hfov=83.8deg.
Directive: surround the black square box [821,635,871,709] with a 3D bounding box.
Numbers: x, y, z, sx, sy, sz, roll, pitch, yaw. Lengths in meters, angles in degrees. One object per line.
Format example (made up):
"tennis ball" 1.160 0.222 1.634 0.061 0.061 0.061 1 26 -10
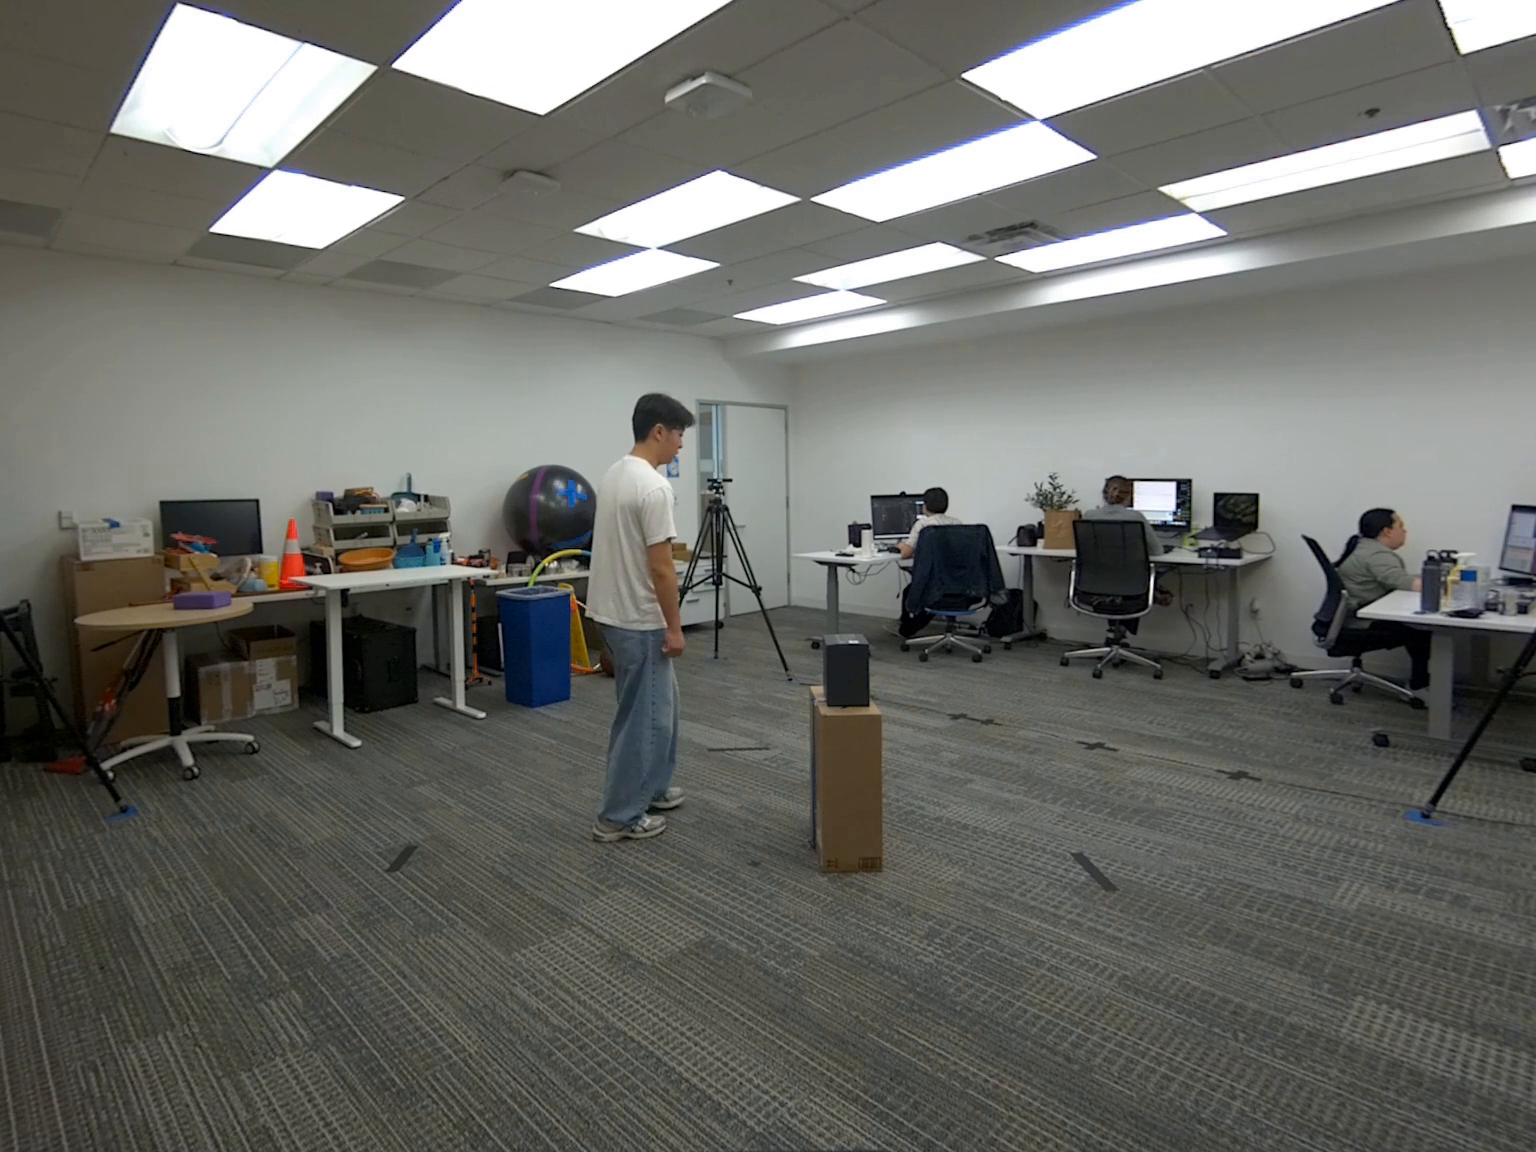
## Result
"black square box" 0.290 0.346 3.197 0.156 0.227 0.217 -1 5 3
